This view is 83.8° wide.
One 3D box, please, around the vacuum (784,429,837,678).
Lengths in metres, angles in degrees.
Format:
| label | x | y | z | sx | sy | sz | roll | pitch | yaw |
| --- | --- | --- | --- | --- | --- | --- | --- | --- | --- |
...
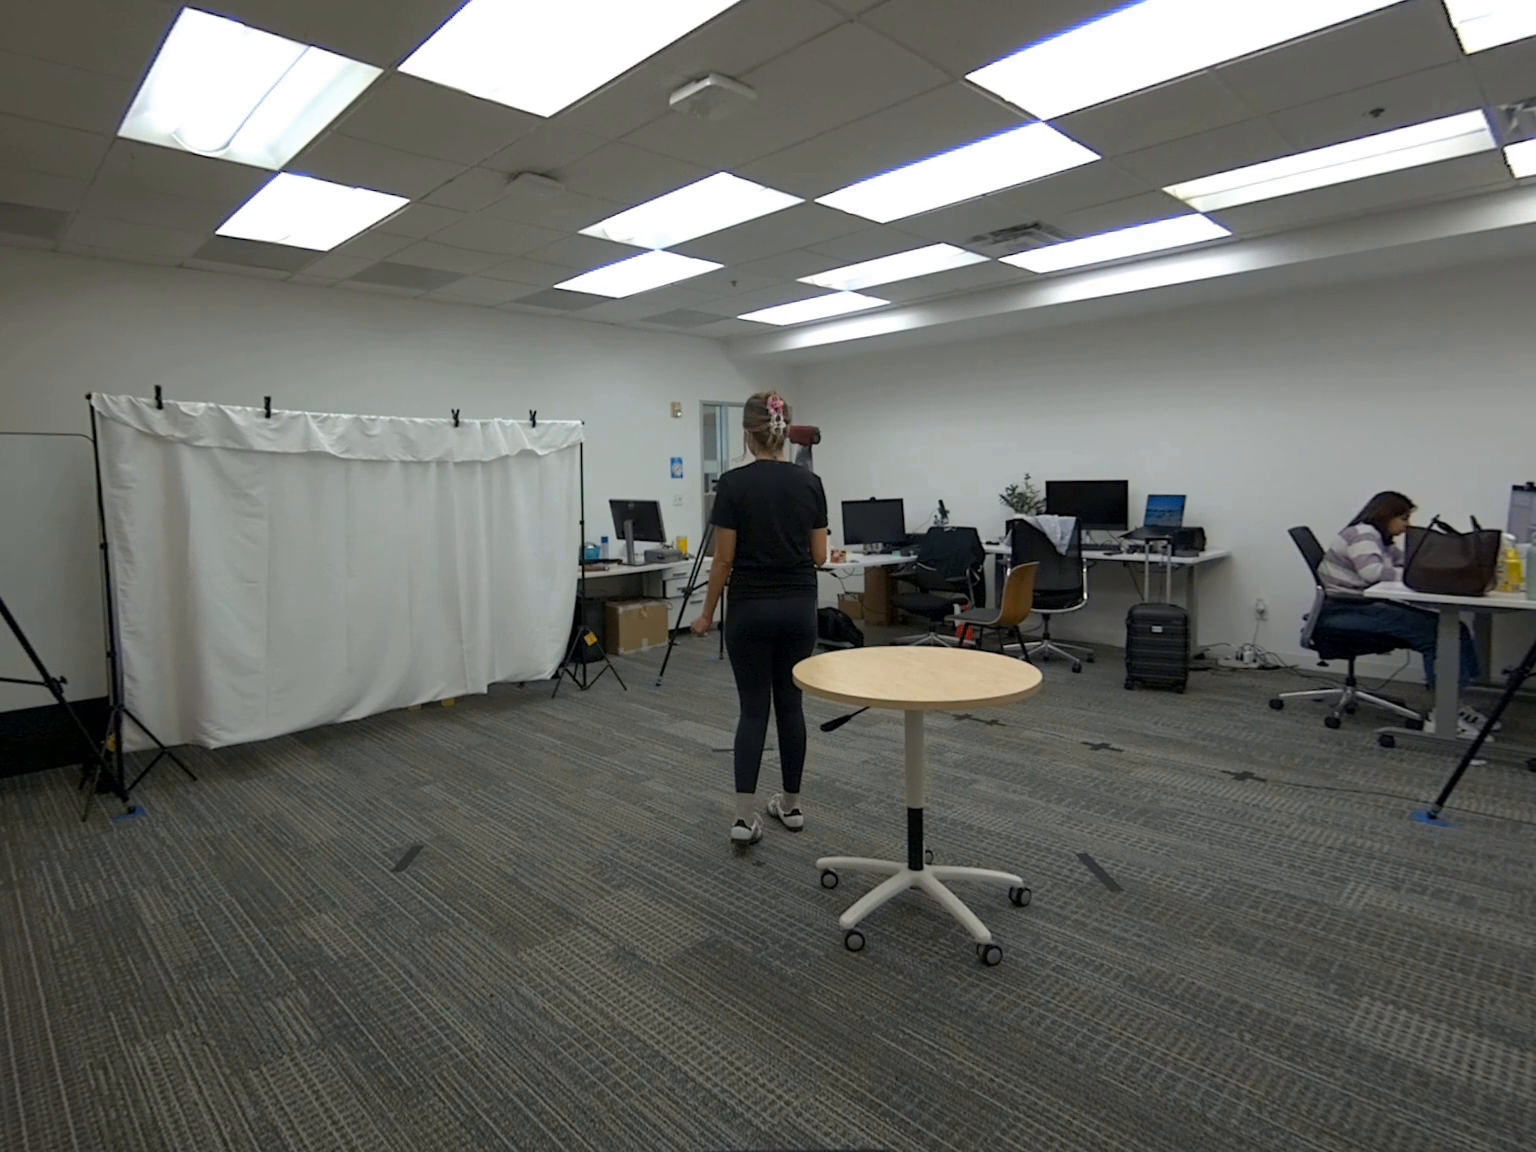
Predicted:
| label | x | y | z | sx | sy | sz | roll | pitch | yaw |
| --- | --- | --- | --- | --- | --- | --- | --- | --- | --- |
| vacuum | 0.140 | -0.109 | 3.727 | 0.261 | 1.040 | 0.141 | 6 | 12 | 42 |
